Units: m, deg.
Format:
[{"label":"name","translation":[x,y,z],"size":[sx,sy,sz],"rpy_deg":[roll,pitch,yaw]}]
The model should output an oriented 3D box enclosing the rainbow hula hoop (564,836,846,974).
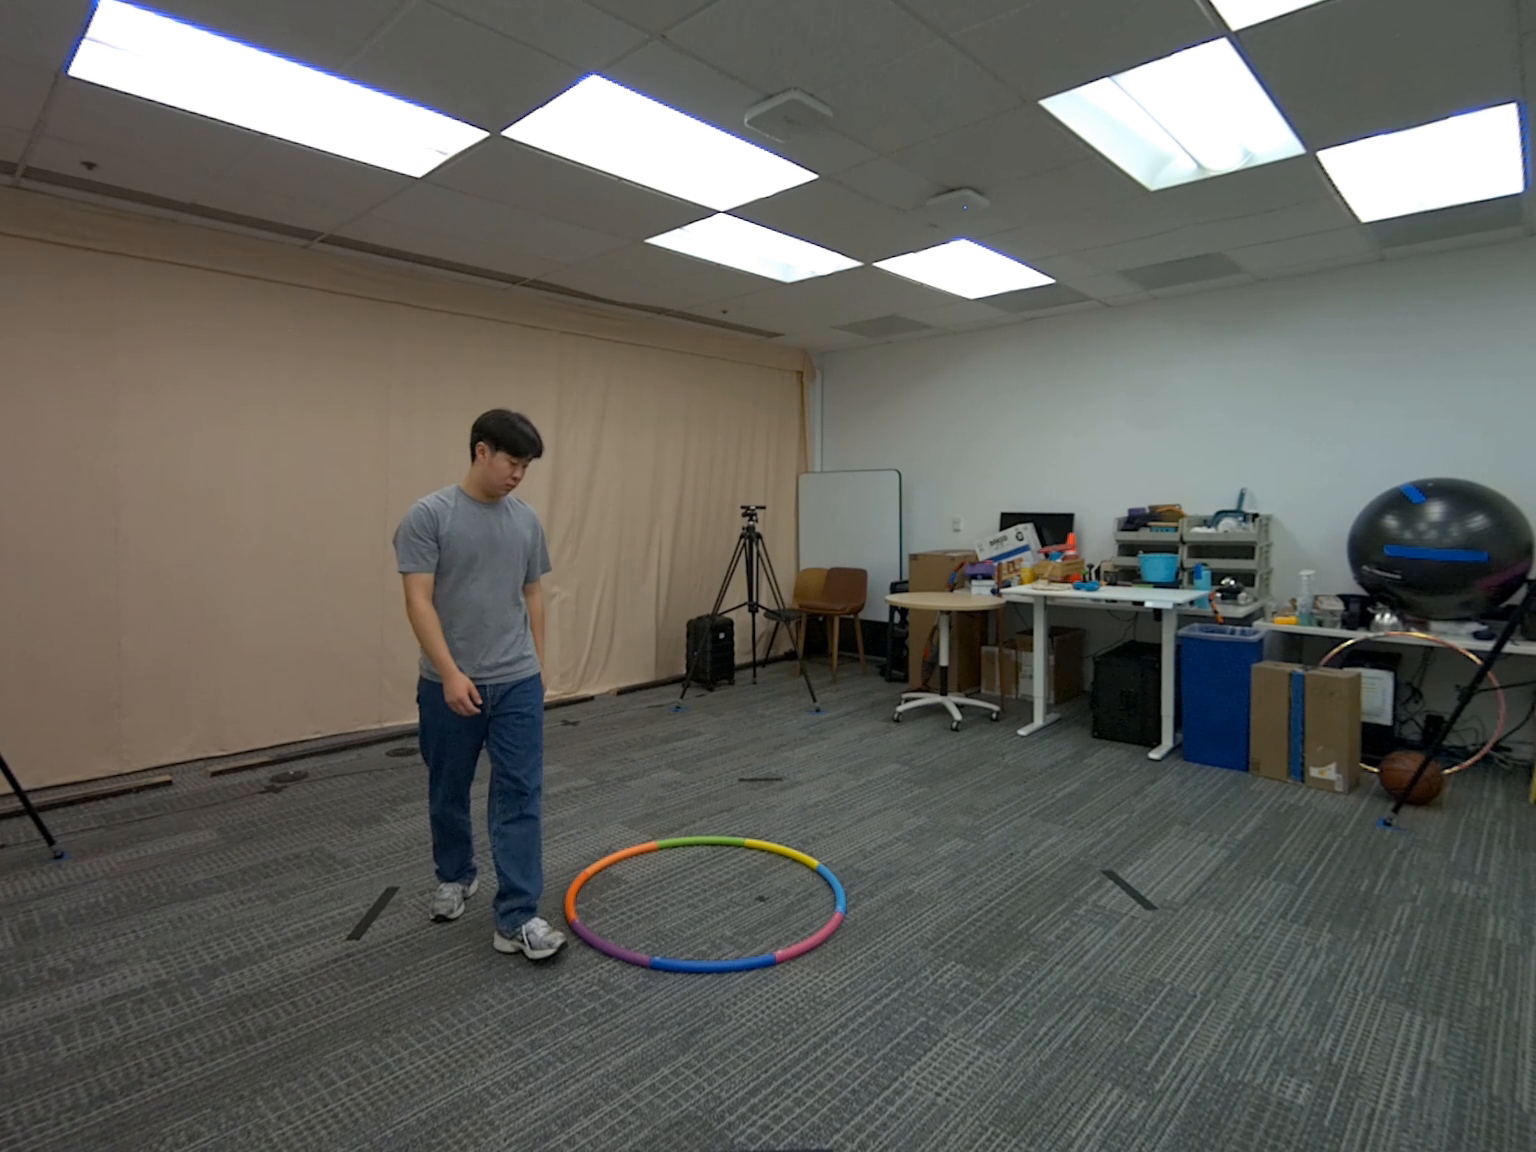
[{"label":"rainbow hula hoop","translation":[-0.221,1.115,2.989],"size":[0.978,0.035,0.982],"rpy_deg":[-1,5,-2]}]
